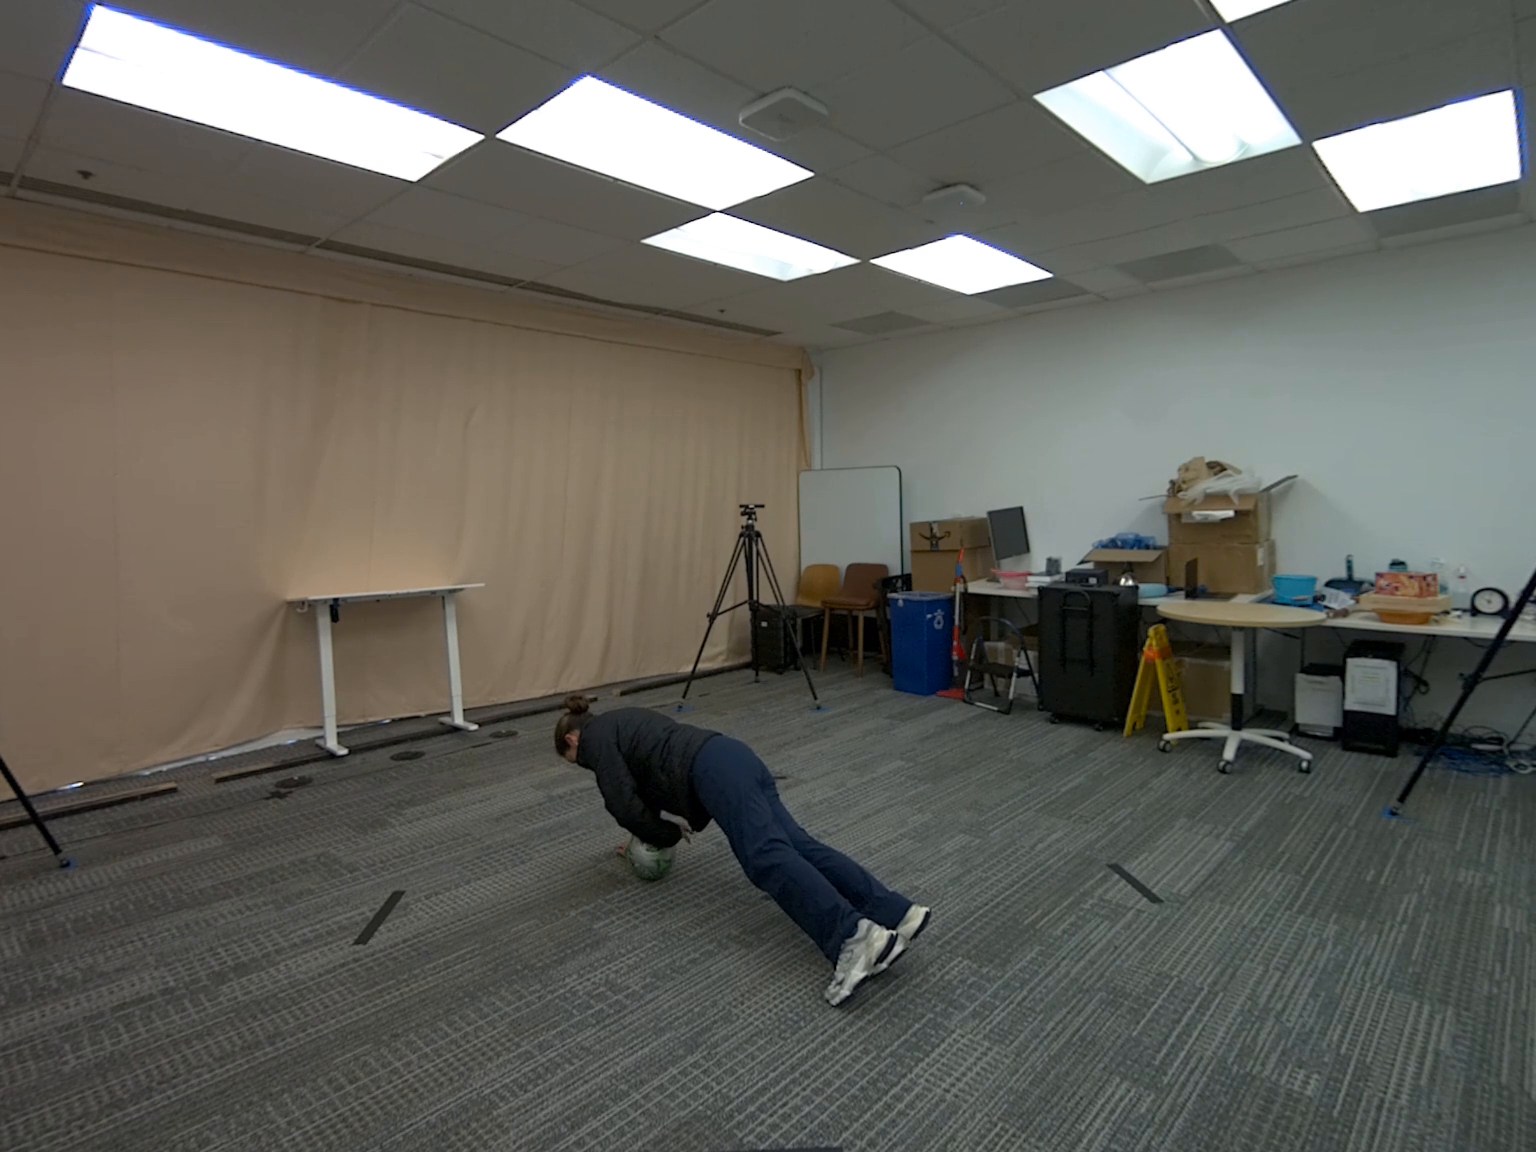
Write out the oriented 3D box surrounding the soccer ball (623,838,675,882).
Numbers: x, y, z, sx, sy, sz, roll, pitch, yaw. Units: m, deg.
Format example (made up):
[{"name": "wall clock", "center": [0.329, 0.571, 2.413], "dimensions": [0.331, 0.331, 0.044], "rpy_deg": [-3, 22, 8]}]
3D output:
[{"name": "soccer ball", "center": [-0.436, 1.040, 3.160], "dimensions": [0.187, 0.187, 0.188], "rpy_deg": [-1, 4, -2]}]
